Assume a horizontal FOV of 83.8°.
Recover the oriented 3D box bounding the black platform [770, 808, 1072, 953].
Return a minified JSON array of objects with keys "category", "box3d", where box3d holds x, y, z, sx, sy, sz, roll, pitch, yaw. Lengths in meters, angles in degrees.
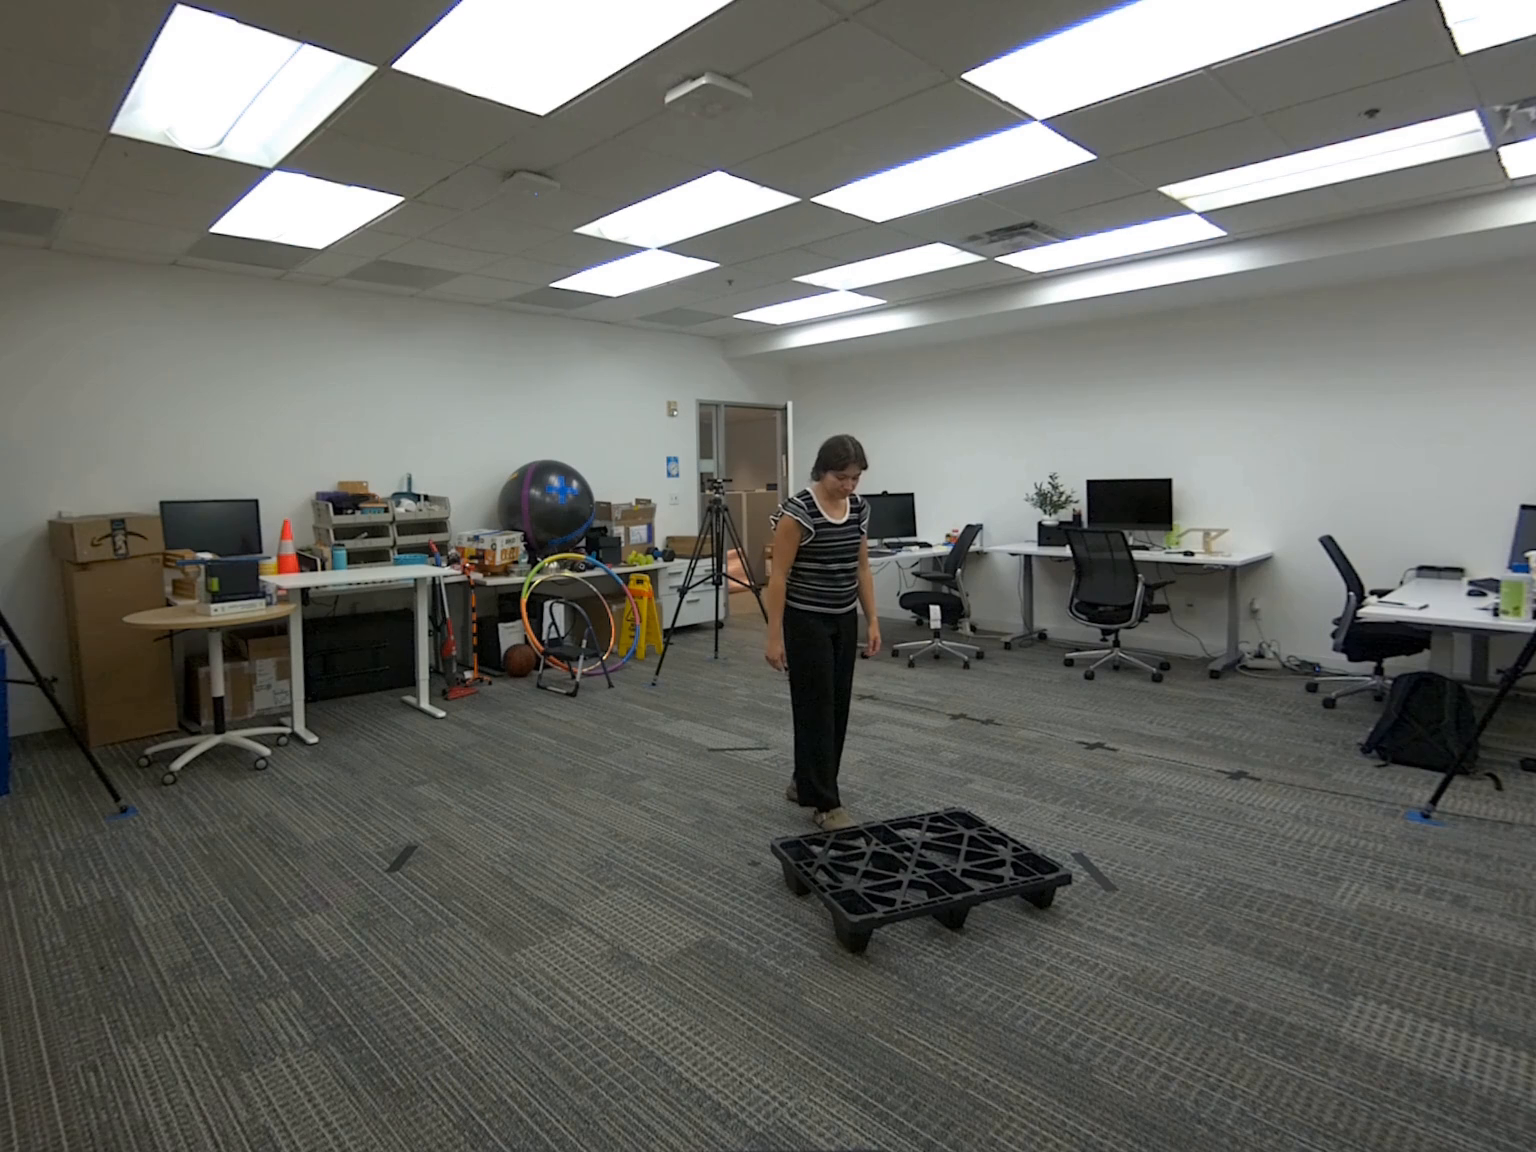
[{"category":"black platform","box3d":[0.493,0.997,2.849,0.791,0.142,0.619,-4,8,-21]}]
